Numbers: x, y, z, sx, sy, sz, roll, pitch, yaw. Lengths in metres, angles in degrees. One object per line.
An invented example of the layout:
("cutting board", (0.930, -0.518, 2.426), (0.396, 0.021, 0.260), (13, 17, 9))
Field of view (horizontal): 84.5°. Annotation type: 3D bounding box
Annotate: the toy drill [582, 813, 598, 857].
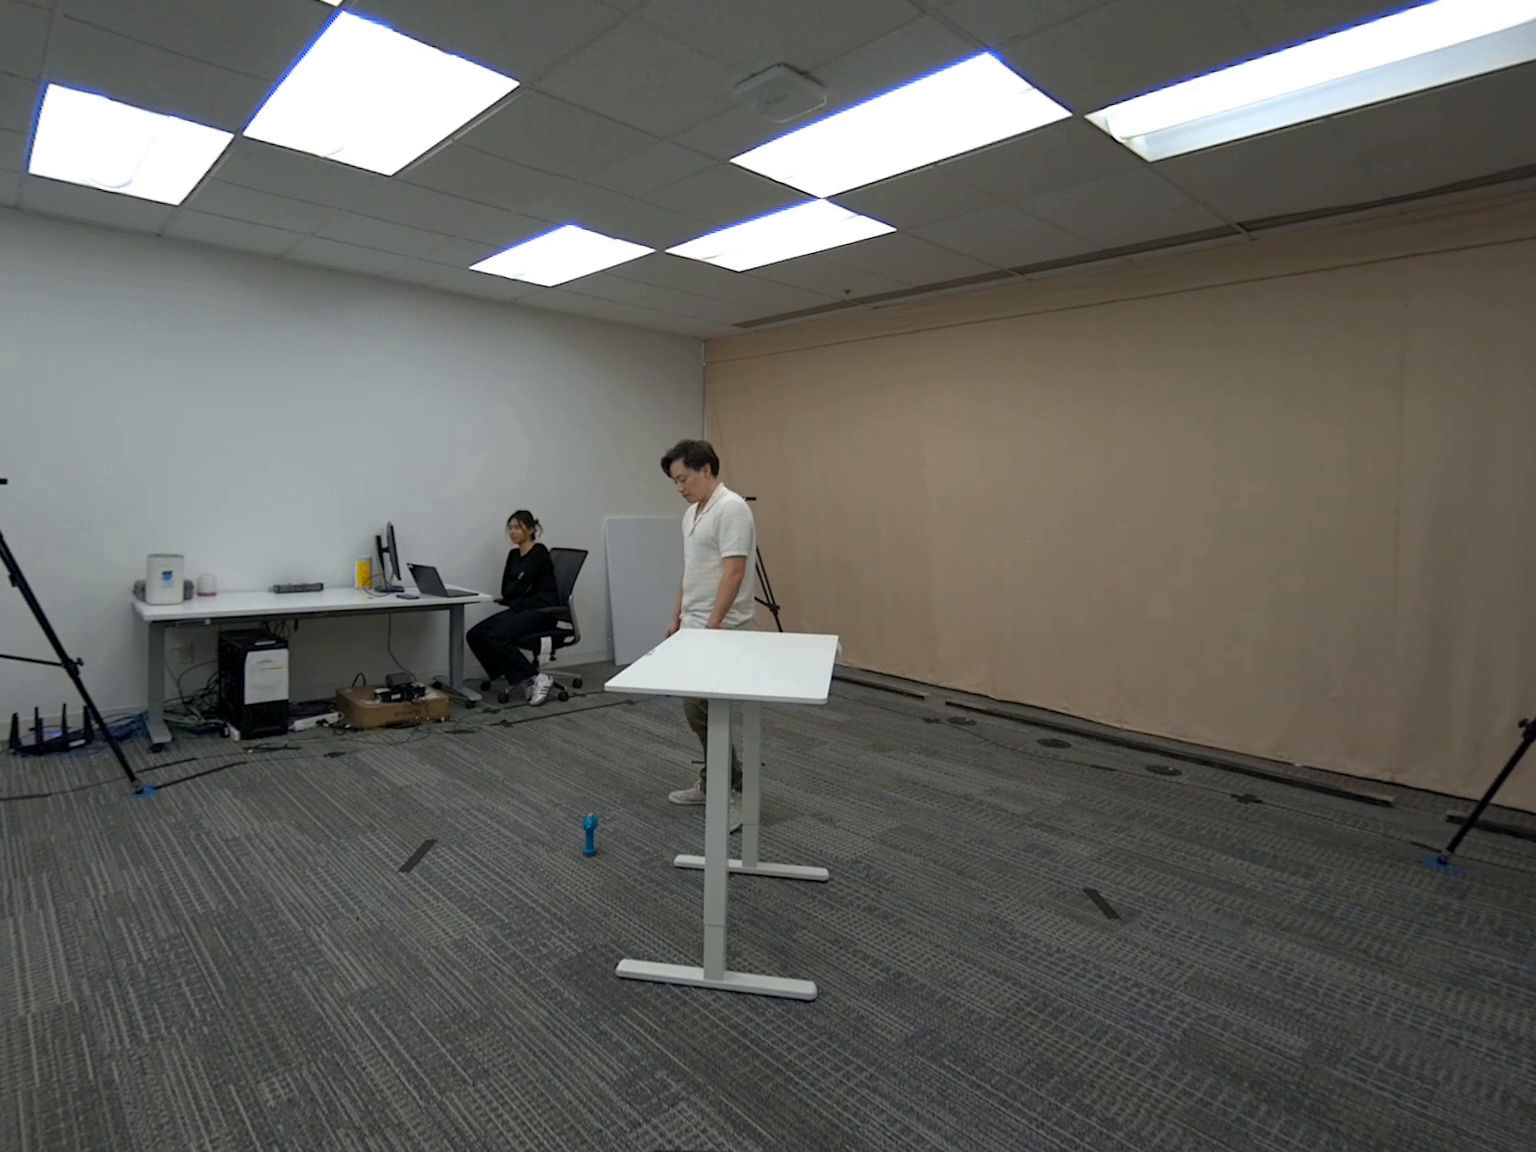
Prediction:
("toy drill", (-0.706, 1.004, 3.307), (0.061, 0.145, 0.171), (3, 5, -7))
